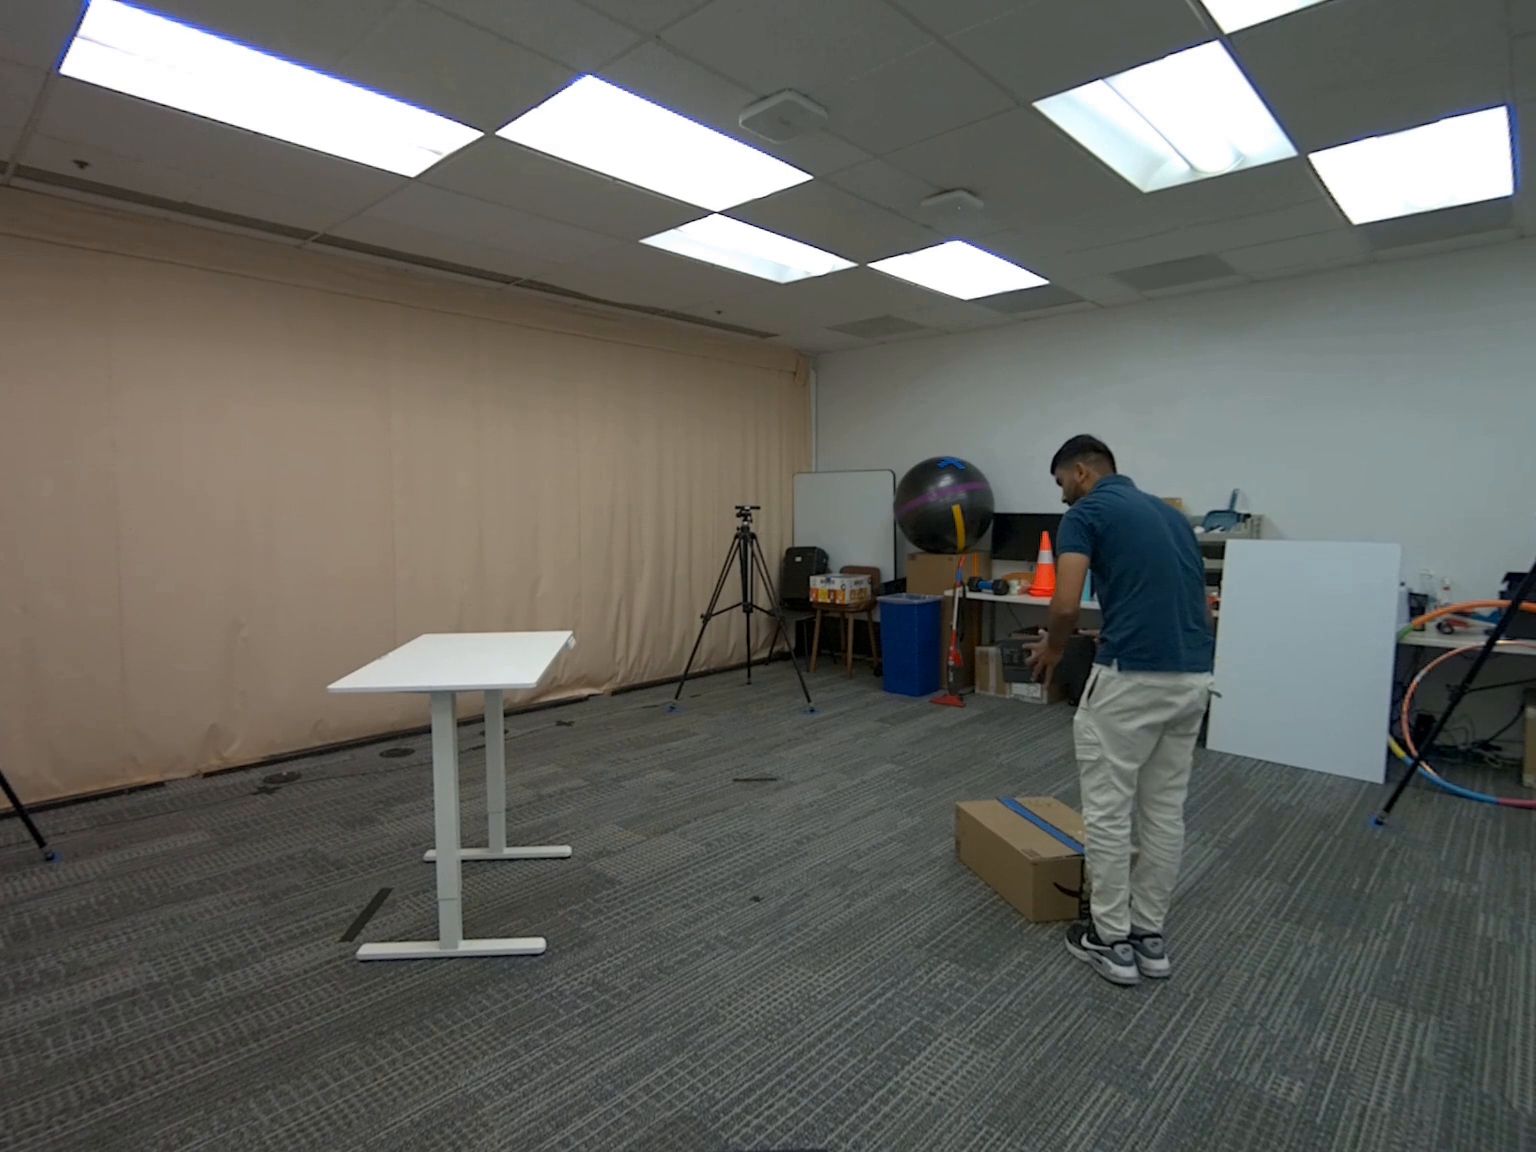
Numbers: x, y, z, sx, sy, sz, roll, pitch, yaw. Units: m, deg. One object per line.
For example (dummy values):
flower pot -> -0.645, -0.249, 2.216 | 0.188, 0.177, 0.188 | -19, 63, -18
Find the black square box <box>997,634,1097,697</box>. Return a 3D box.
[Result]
black square box -> 0.976, 0.299, 2.947 | 0.223, 0.156, 0.221 | 0, -4, -23
